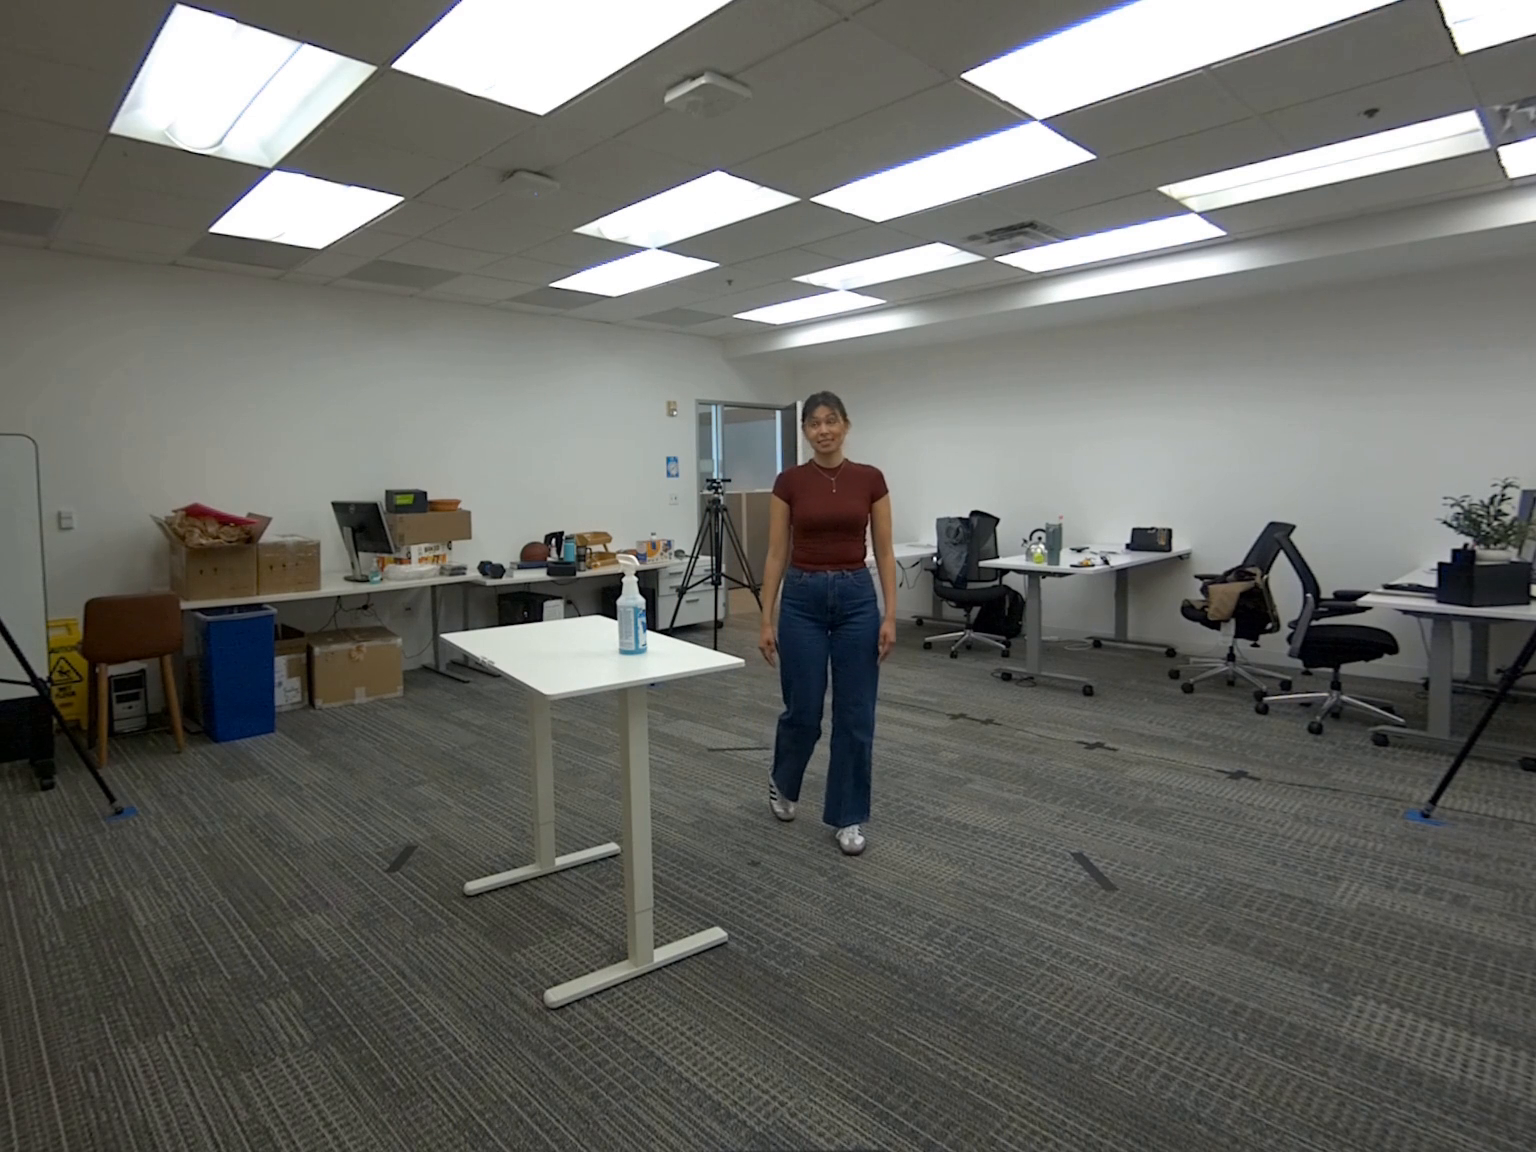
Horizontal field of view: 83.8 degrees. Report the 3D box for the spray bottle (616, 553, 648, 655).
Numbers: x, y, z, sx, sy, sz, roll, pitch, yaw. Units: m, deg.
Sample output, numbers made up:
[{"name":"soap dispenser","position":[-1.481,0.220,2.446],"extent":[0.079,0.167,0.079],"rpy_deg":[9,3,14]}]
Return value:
[{"name":"spray bottle","position":[-0.416,0.087,2.585],"extent":[0.085,0.296,0.092],"rpy_deg":[-3,5,-24]}]
